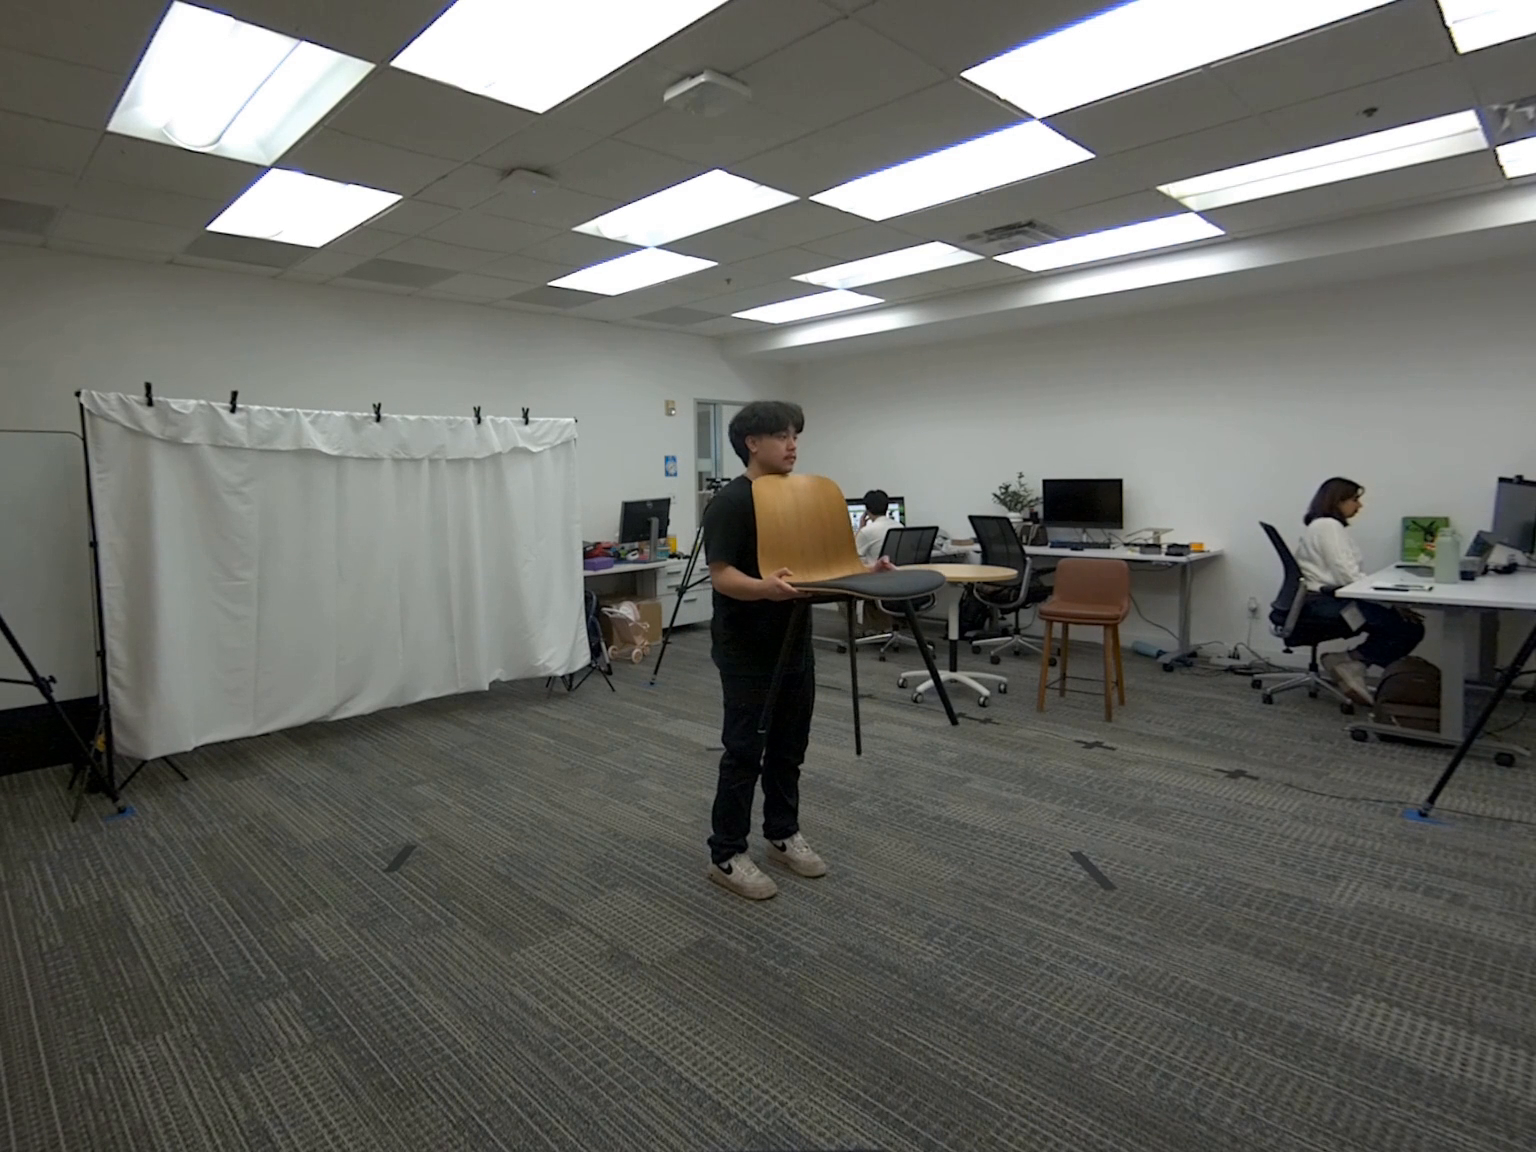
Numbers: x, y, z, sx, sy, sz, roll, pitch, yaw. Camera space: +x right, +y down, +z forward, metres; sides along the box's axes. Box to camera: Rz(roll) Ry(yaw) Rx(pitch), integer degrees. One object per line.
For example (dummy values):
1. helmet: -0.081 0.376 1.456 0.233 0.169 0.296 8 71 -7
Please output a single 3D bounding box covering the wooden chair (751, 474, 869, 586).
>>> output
1. wooden chair: 0.254 0.077 2.742 0.465 0.880 0.535 -3 -3 -38
